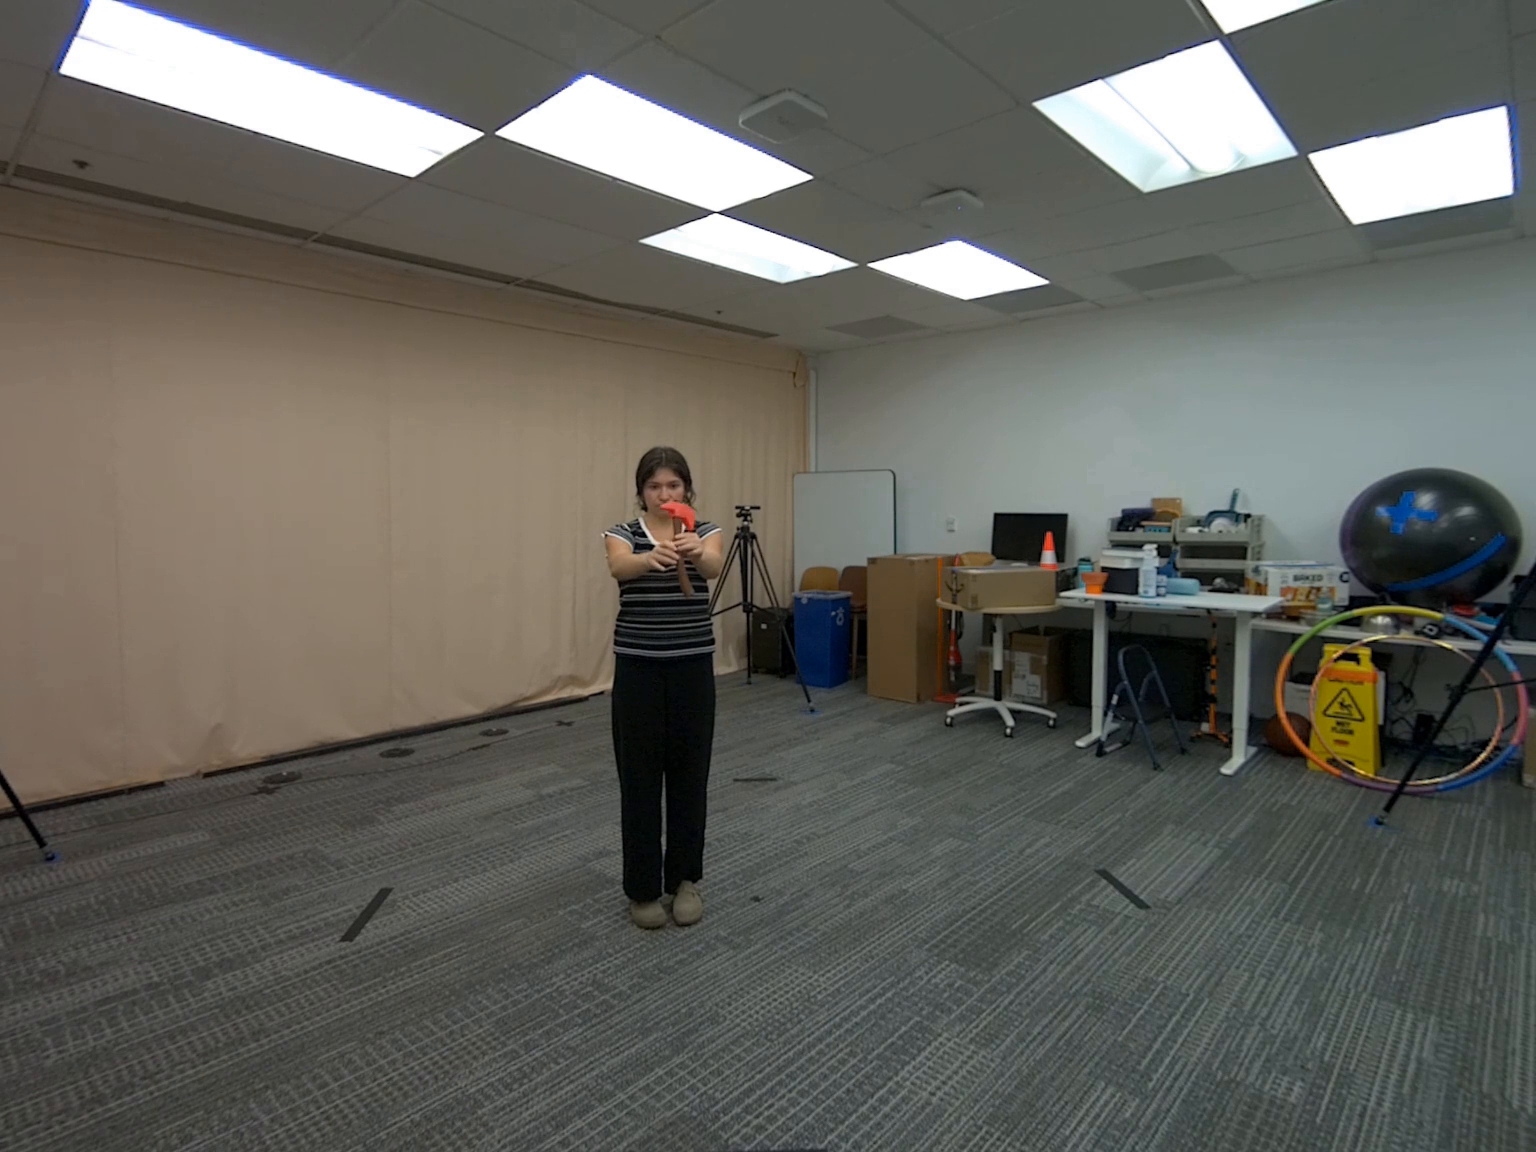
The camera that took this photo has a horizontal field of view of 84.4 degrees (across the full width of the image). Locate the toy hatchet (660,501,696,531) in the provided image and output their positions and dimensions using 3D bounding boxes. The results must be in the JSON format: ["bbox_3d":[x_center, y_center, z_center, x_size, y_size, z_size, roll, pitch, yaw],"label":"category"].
[{"bbox_3d":[-0.224,-0.083,2.351,0.030,0.269,0.128,-12,3,36],"label":"toy hatchet"}]
